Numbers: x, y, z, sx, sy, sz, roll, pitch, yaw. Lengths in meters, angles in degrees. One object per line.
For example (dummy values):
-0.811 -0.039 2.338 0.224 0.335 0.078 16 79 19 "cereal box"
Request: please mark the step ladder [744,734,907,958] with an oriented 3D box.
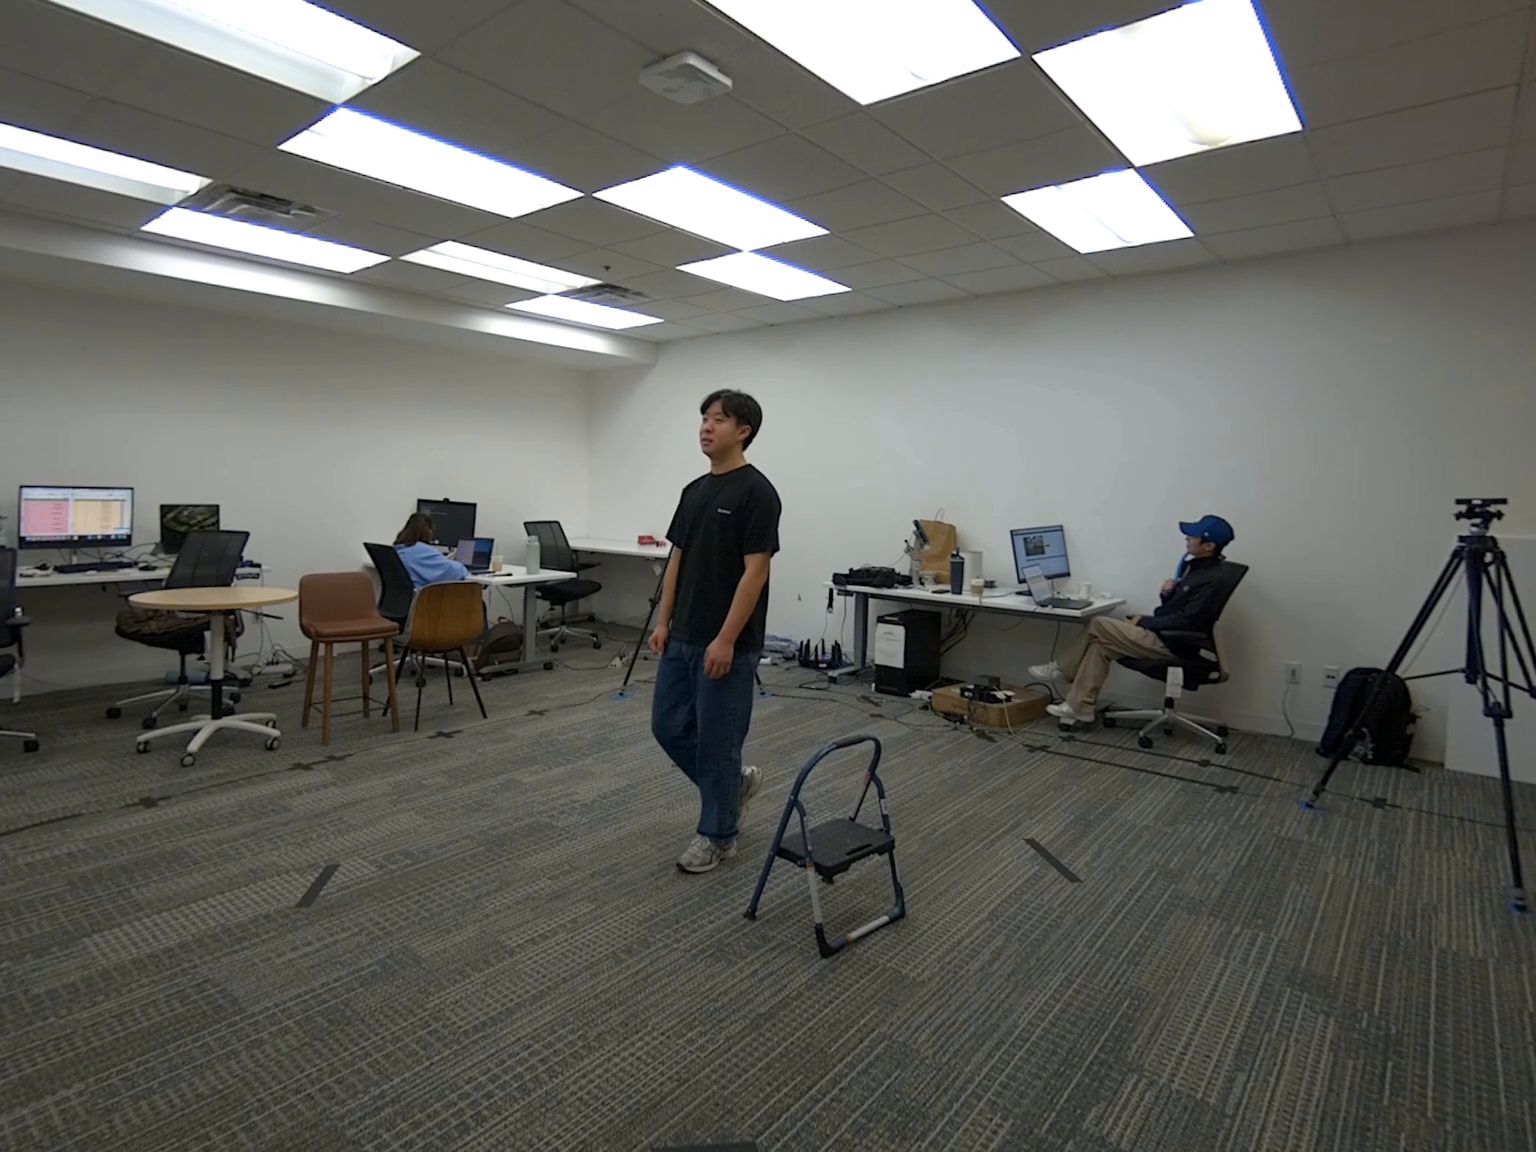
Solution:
0.191 0.807 2.773 0.361 0.604 0.417 5 5 45 "step ladder"
